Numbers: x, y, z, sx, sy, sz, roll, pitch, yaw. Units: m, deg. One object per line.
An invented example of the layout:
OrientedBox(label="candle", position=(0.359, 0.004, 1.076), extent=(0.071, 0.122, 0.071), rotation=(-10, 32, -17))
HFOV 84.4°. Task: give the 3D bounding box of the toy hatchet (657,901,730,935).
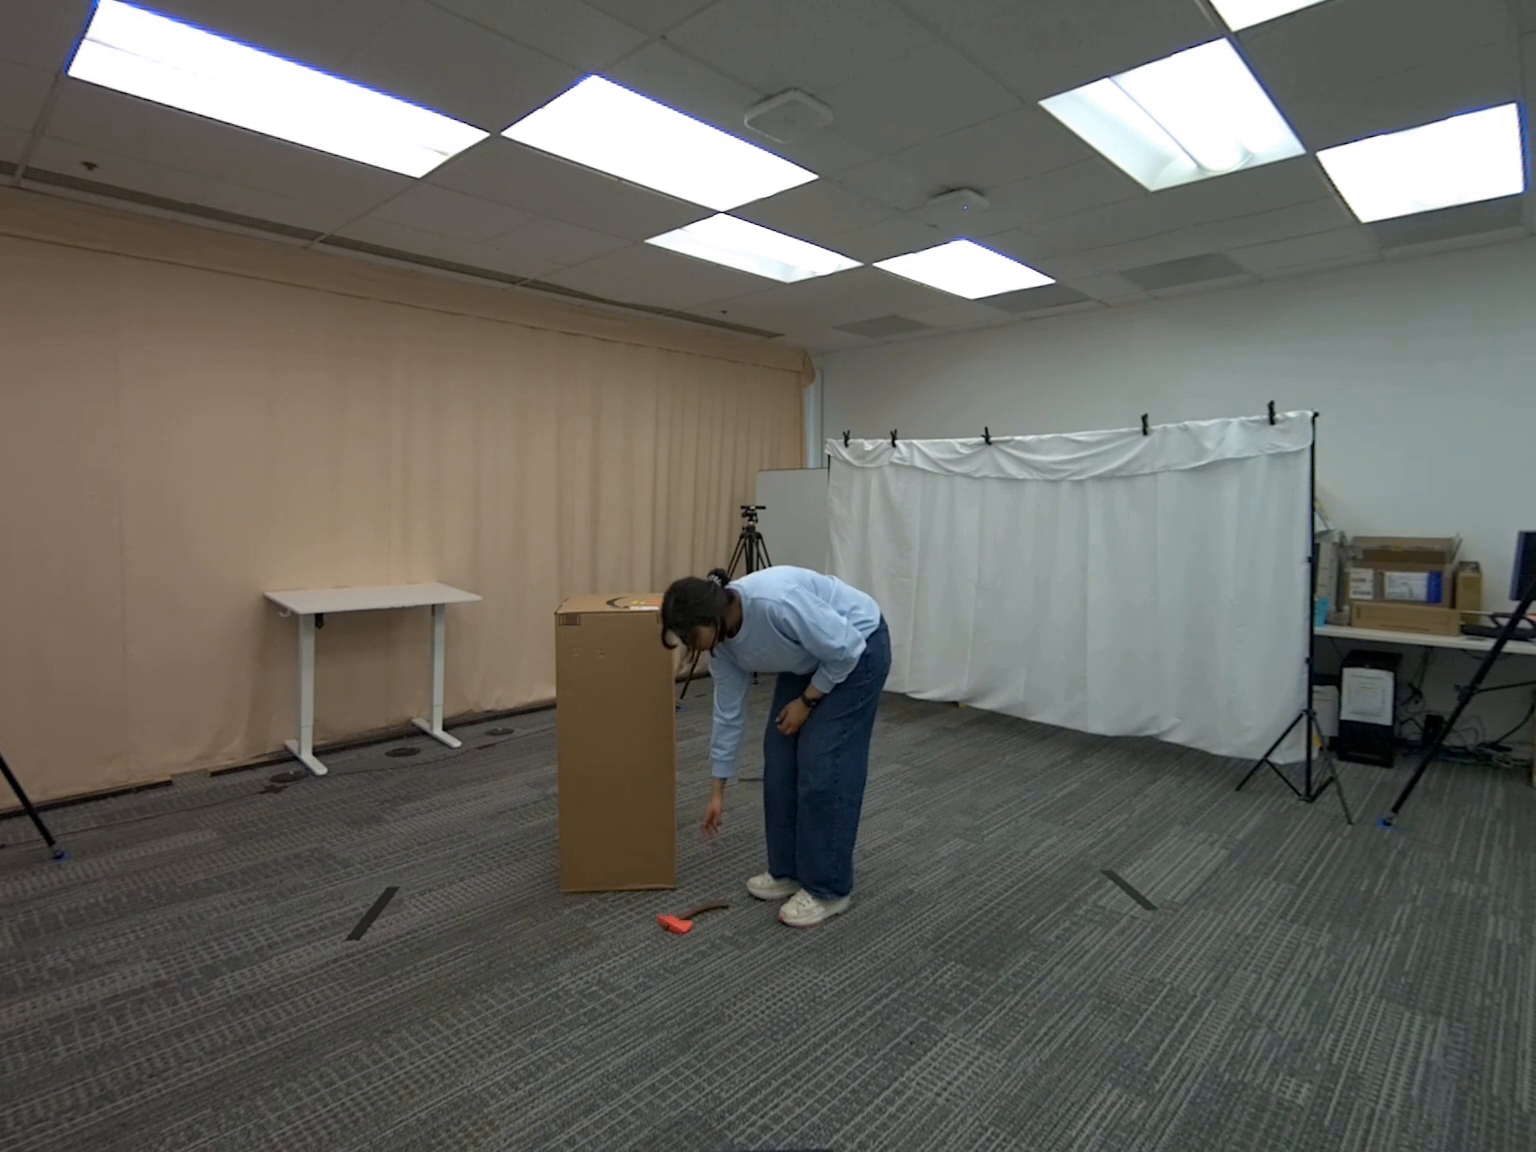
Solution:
OrientedBox(label="toy hatchet", position=(-0.231, 1.149, 2.829), extent=(0.263, 0.029, 0.135), rotation=(-1, 4, -30))
